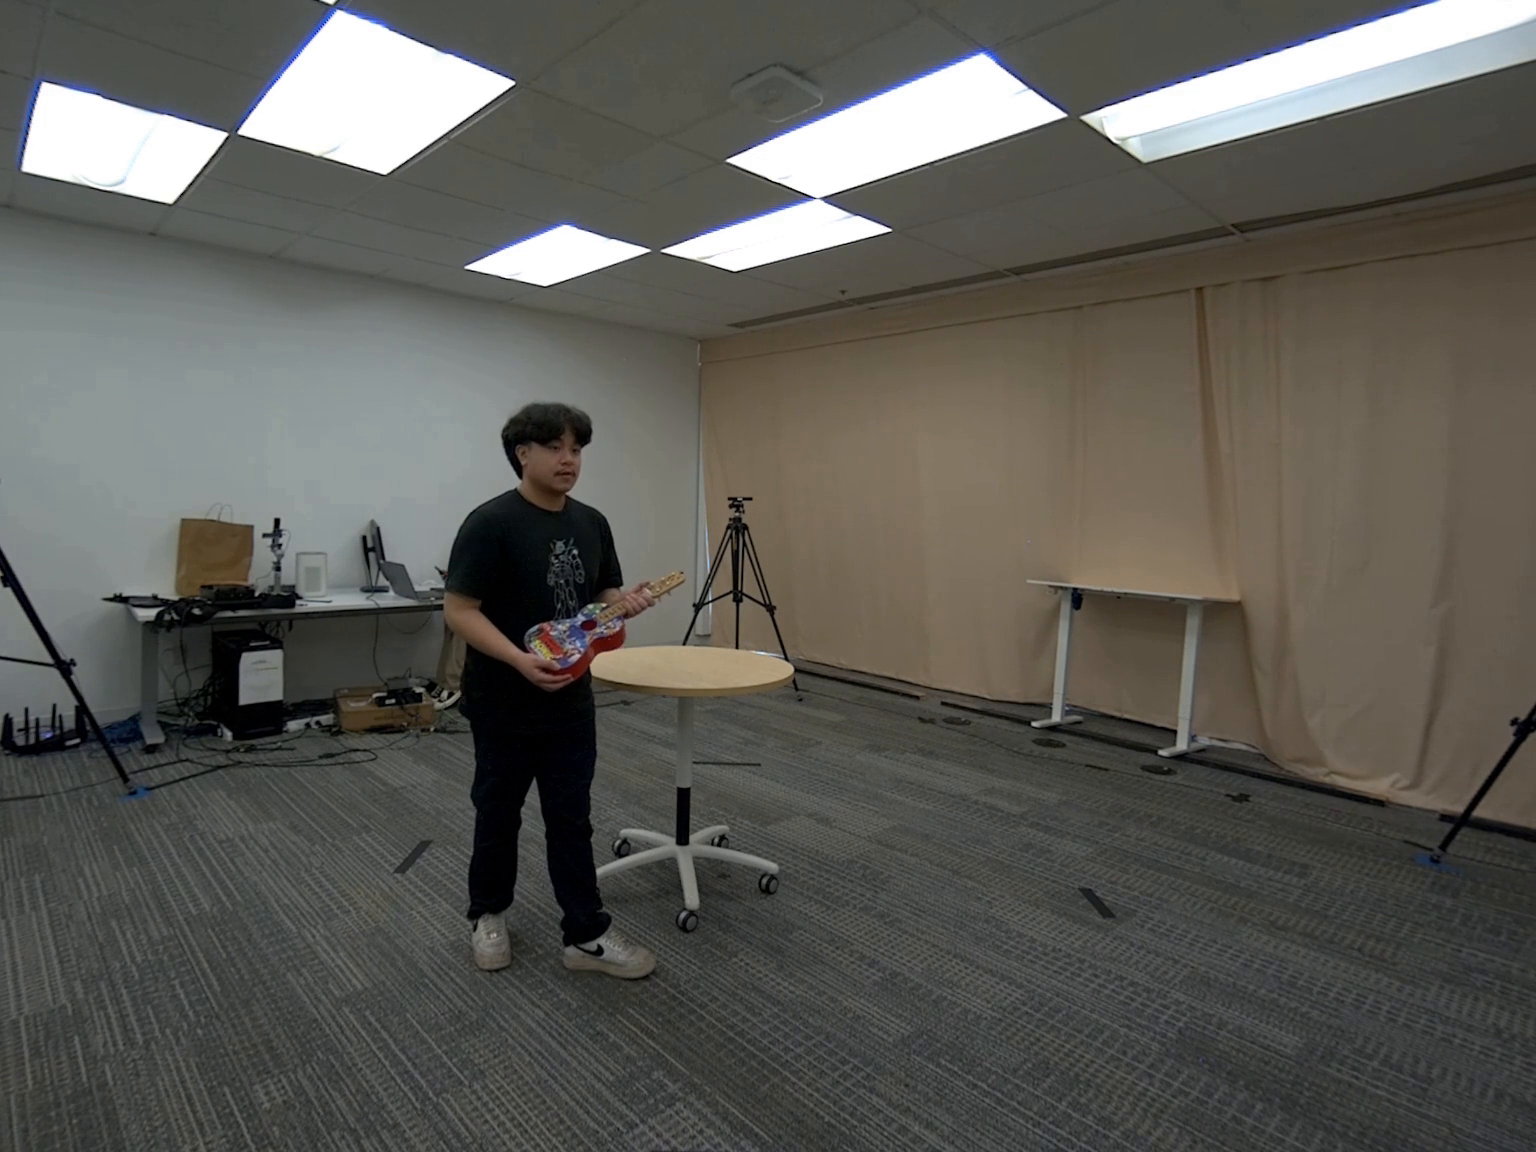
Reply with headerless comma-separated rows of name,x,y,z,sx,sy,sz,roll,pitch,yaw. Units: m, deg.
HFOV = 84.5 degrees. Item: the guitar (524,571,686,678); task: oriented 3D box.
guitar,-0.459,0.139,2.310,0.493,0.069,0.199,-26,47,-26
